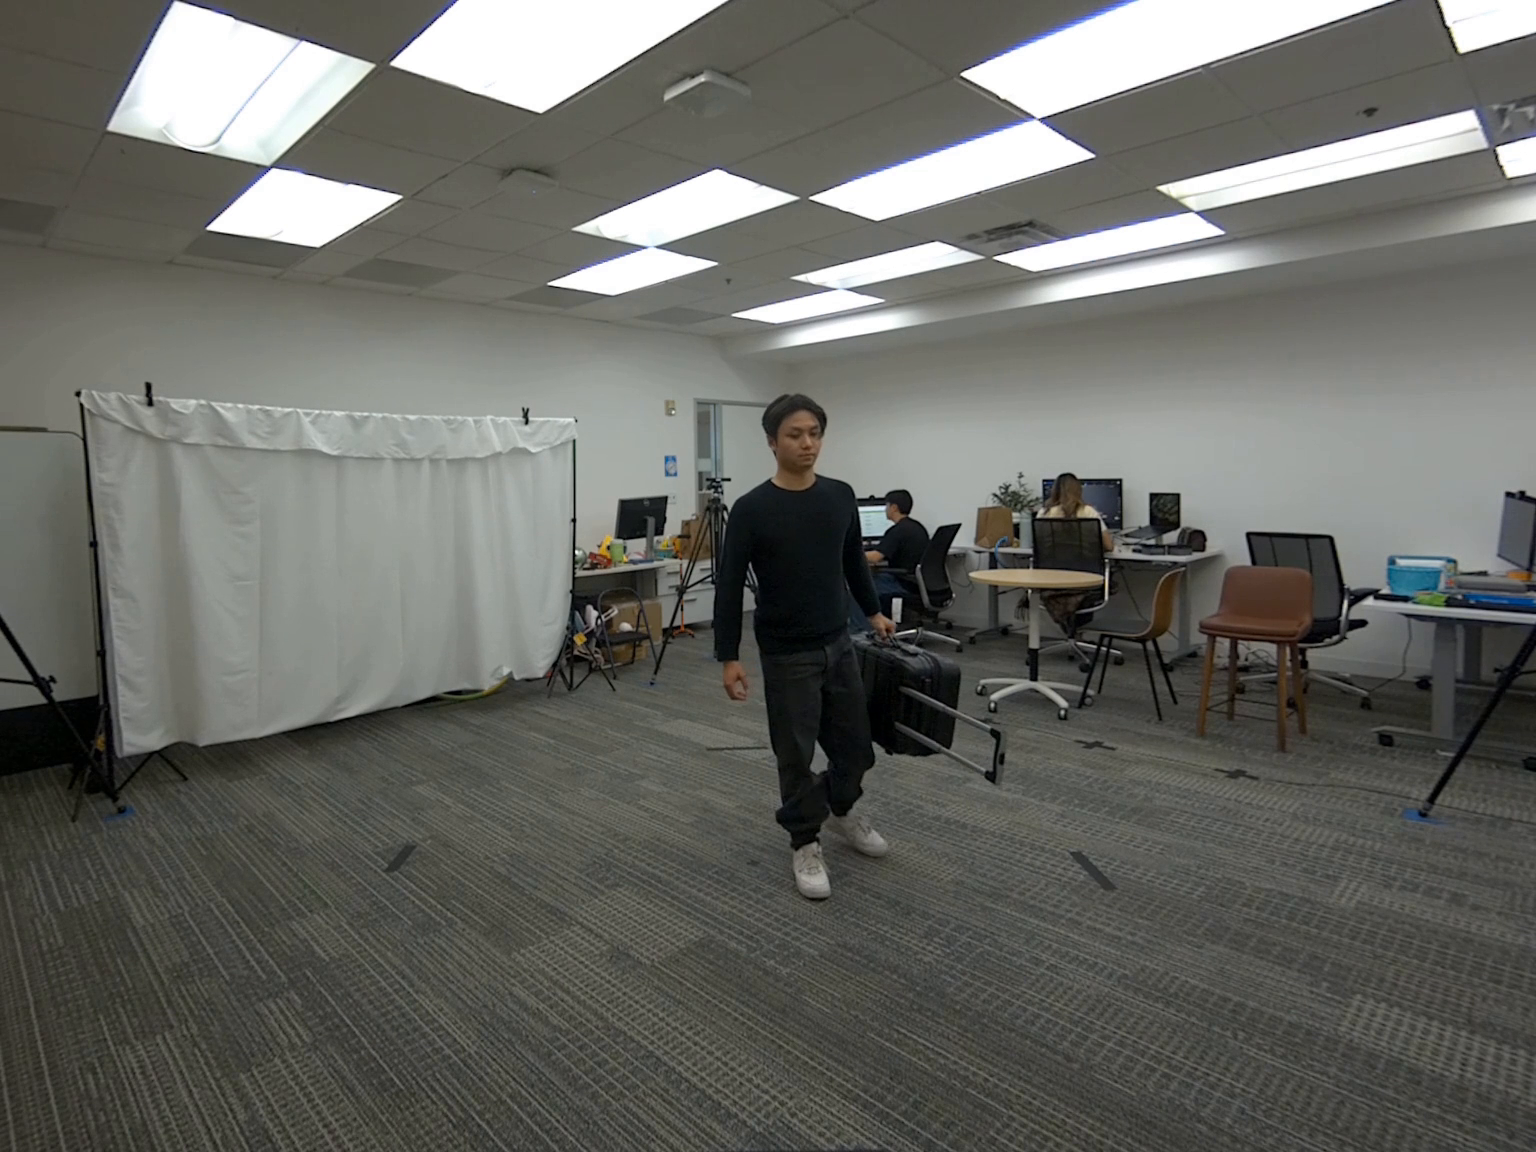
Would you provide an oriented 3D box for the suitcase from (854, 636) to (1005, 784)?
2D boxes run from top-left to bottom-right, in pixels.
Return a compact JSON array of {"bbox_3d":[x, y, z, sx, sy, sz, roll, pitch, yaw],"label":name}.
[{"bbox_3d":[0.549,0.452,2.983,0.251,0.383,1.006,5,5,-28],"label":"suitcase"}]
